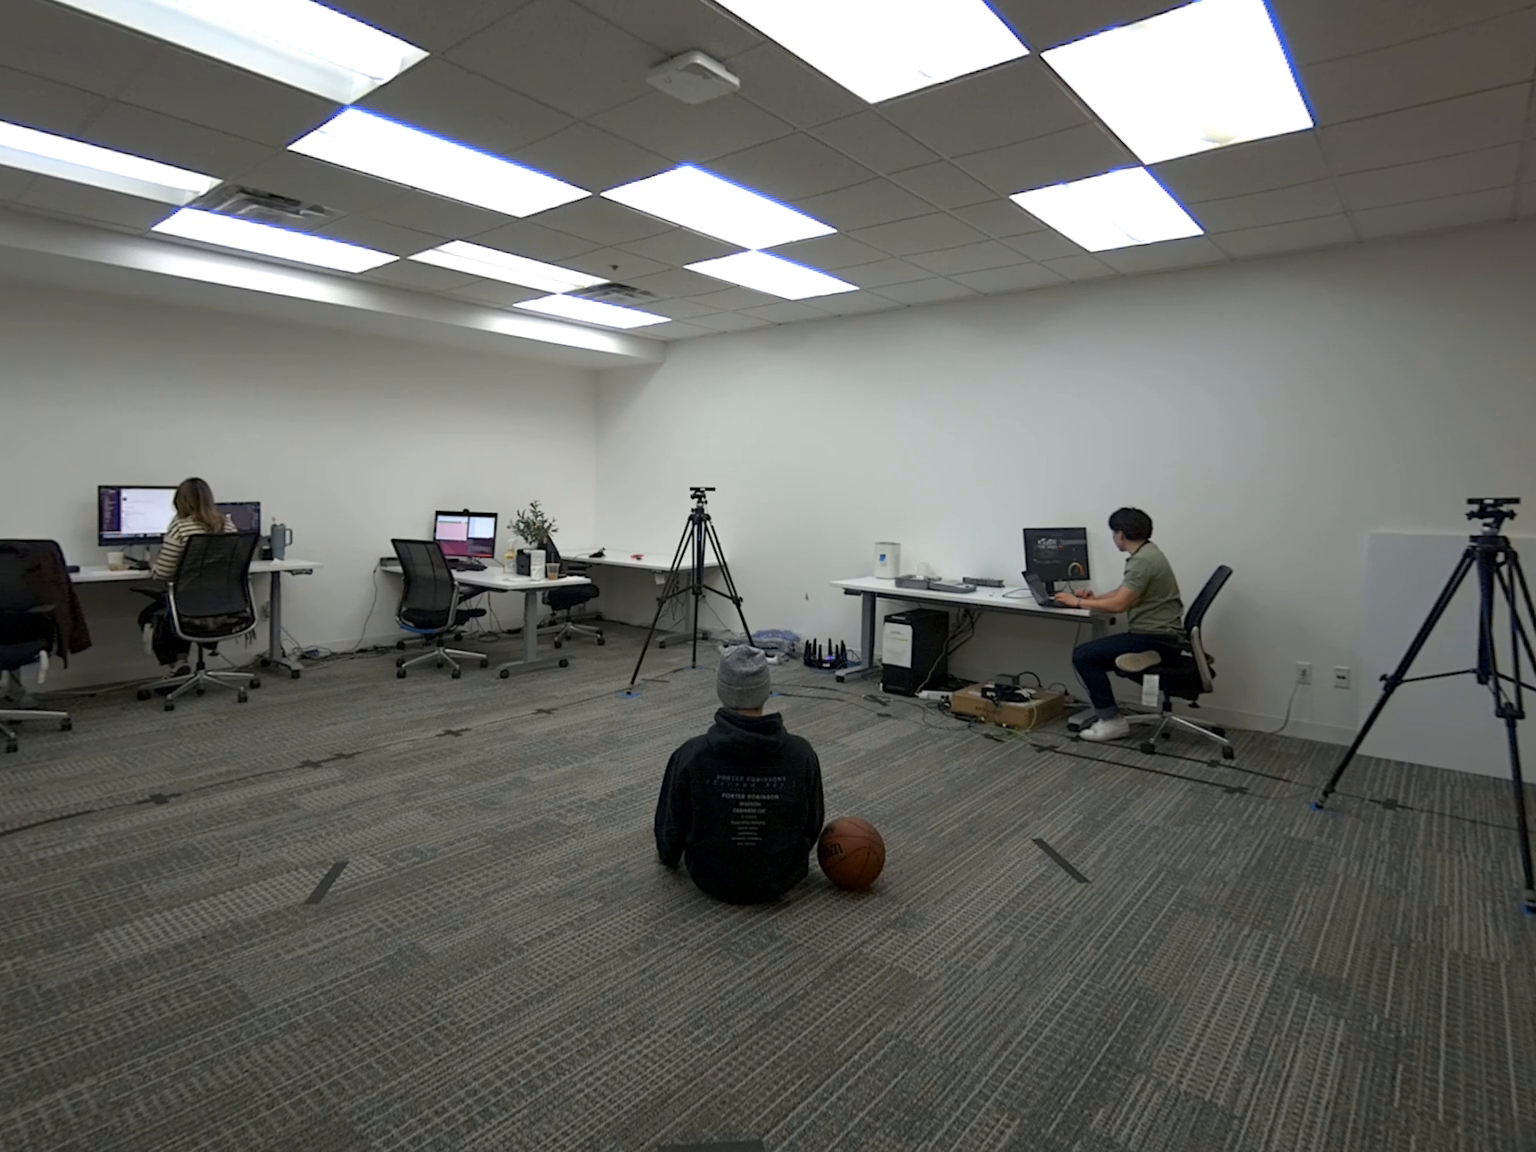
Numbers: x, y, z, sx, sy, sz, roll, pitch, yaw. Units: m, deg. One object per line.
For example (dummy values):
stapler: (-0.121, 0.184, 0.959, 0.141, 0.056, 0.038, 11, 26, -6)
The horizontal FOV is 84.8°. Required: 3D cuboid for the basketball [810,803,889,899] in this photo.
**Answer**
basketball: (0.281, 0.968, 2.982, 0.235, 0.235, 0.237, 1, 4, -2)
